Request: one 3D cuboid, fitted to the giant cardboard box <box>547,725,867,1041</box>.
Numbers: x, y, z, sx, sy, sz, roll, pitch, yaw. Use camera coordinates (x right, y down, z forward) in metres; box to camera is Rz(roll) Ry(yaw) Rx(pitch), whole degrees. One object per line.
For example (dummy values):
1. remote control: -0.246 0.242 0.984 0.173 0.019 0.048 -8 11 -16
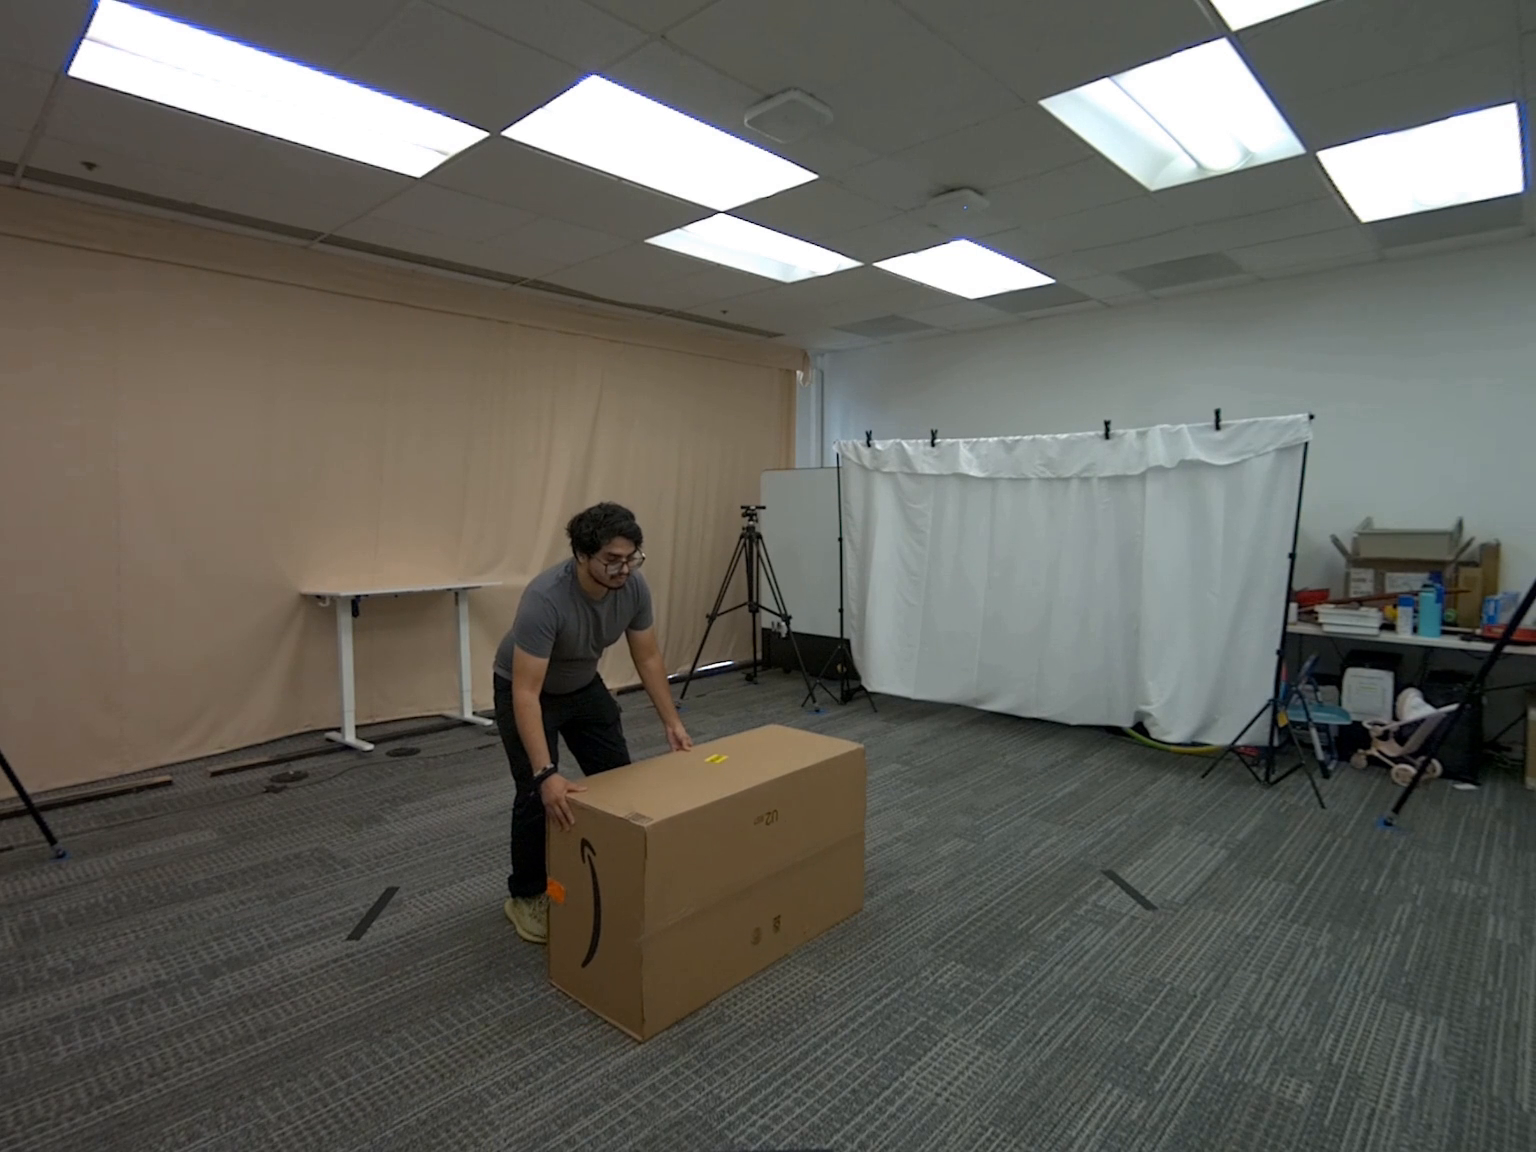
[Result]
1. giant cardboard box: -0.151 0.886 2.673 0.440 0.576 0.995 3 5 42
